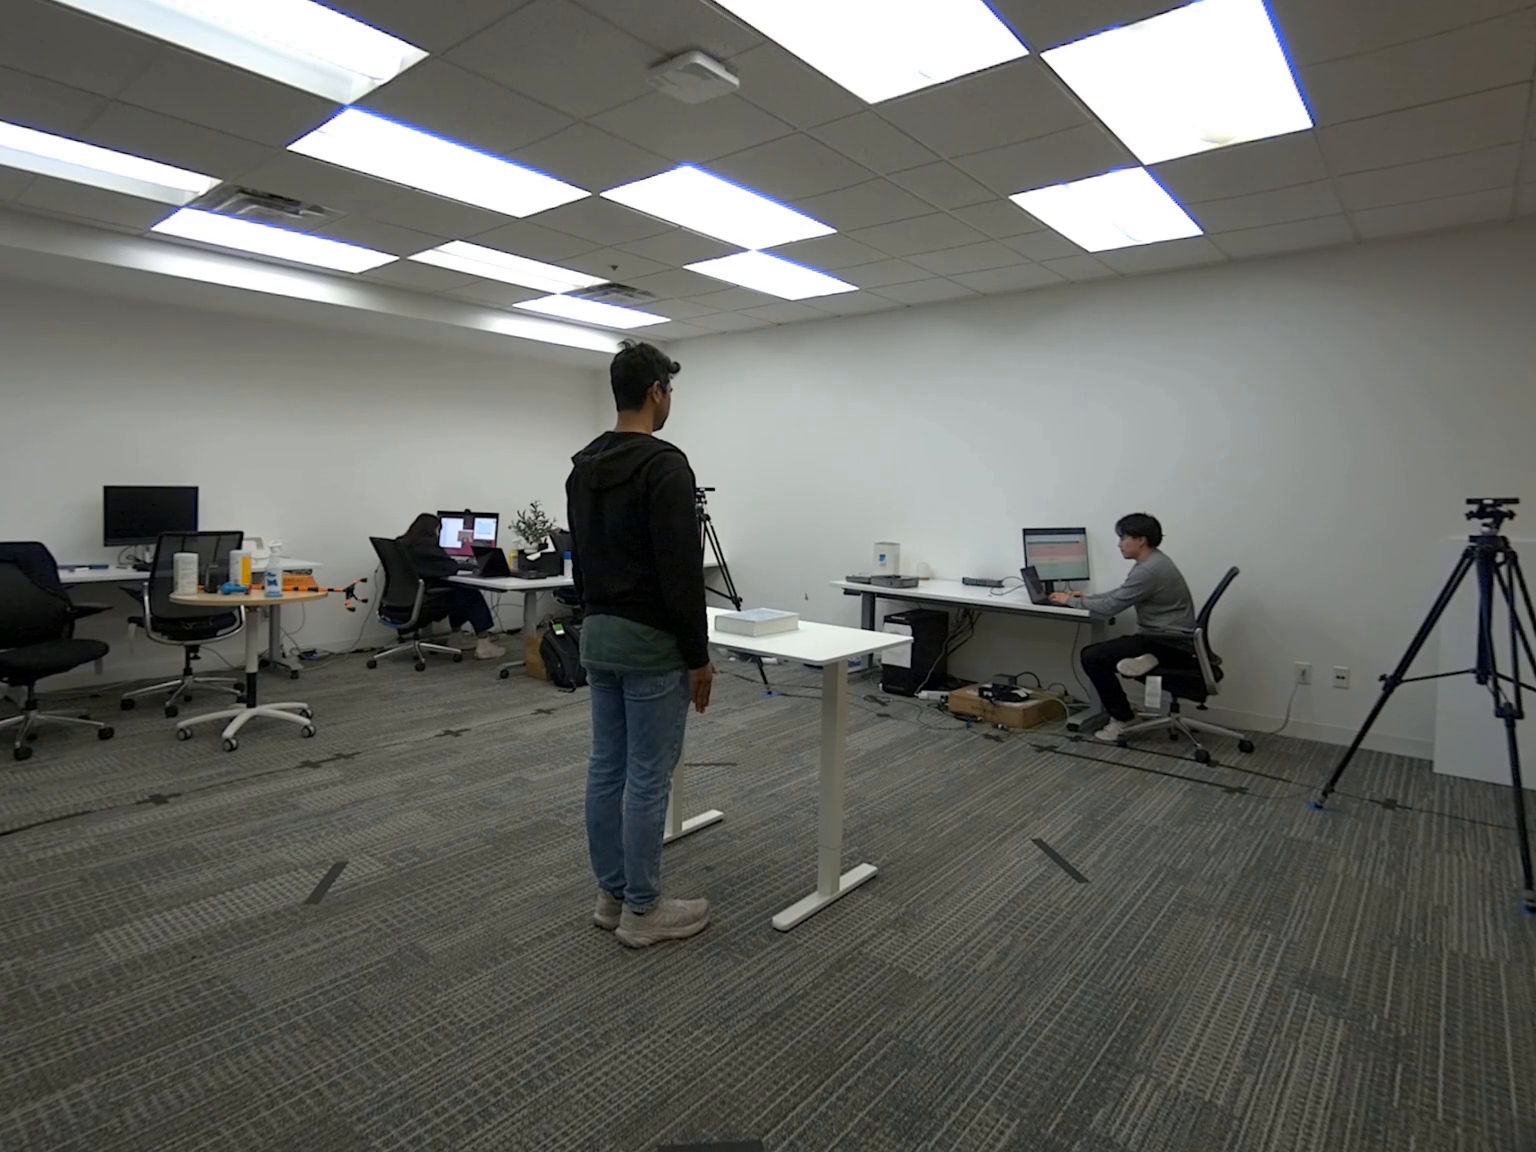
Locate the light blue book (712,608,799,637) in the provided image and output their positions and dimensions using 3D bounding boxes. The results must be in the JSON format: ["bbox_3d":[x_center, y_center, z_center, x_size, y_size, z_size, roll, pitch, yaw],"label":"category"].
[{"bbox_3d":[-0.037,0.165,3.066,0.198,0.059,0.253,5,7,39],"label":"light blue book"}]
